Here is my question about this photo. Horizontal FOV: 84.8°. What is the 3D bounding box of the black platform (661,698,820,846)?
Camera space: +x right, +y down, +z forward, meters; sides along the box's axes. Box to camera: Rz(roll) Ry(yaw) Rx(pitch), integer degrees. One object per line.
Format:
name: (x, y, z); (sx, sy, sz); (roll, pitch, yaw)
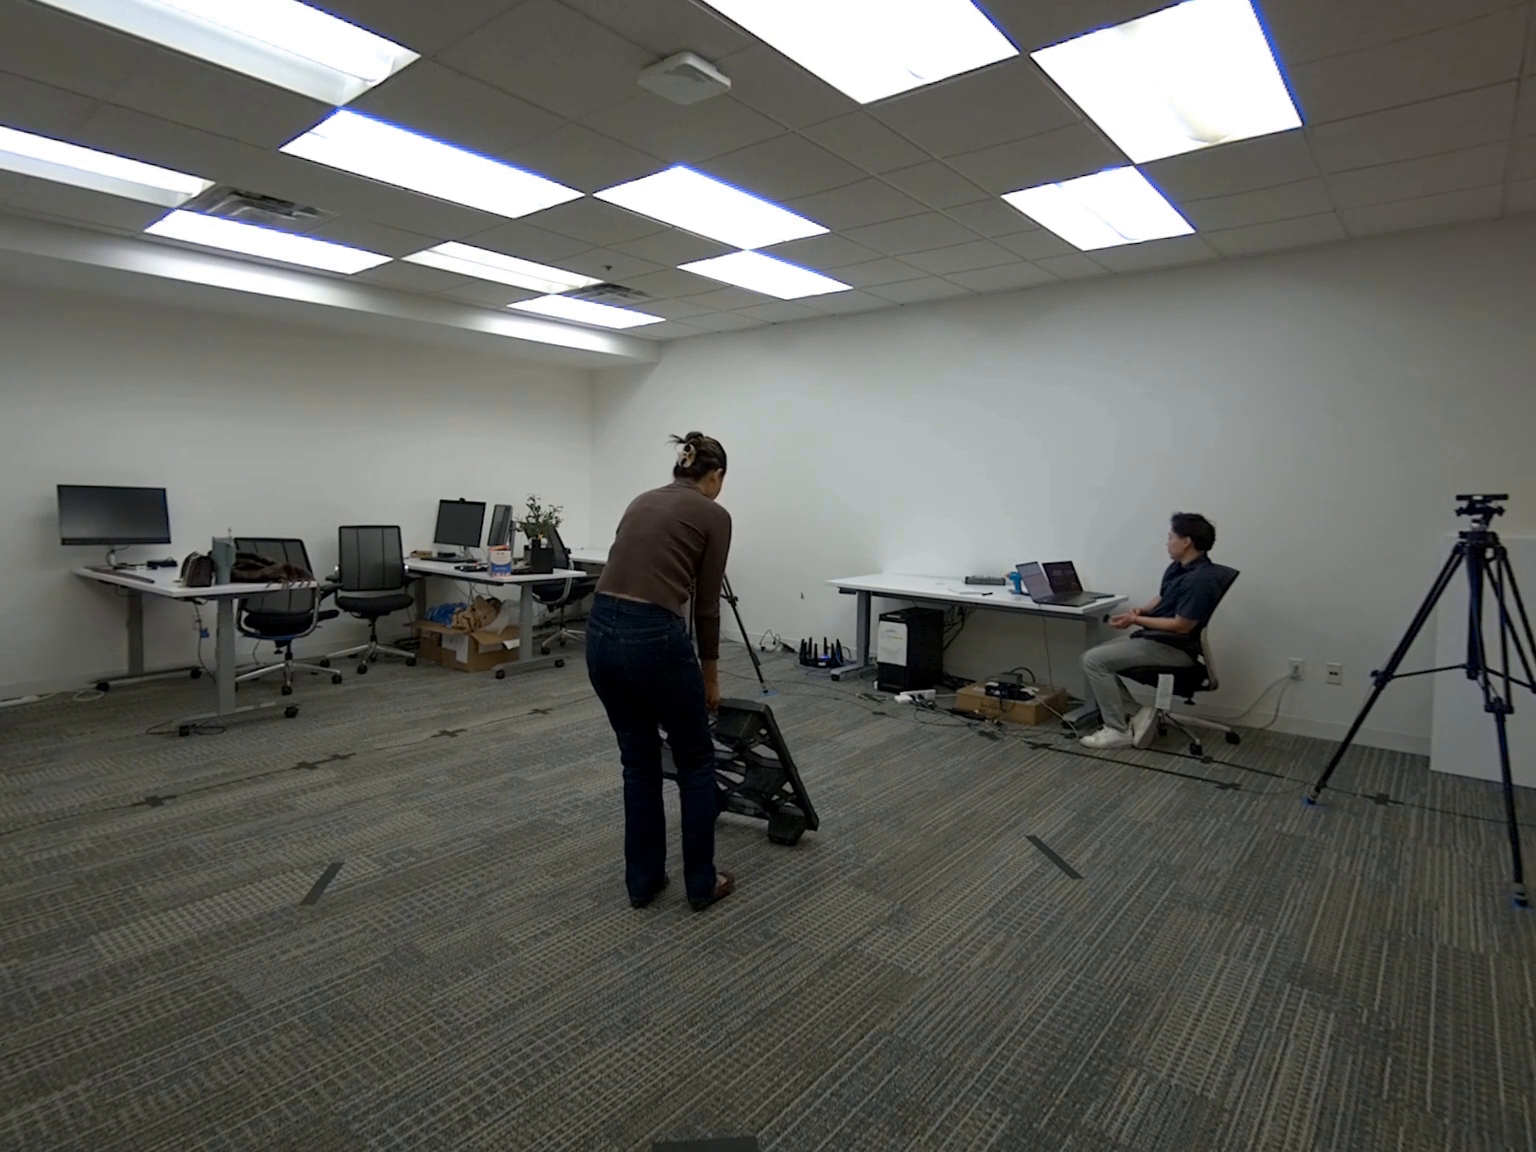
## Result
black platform: (-0.199, 0.731, 3.233); (0.621, 0.776, 0.145); (3, 44, 26)
